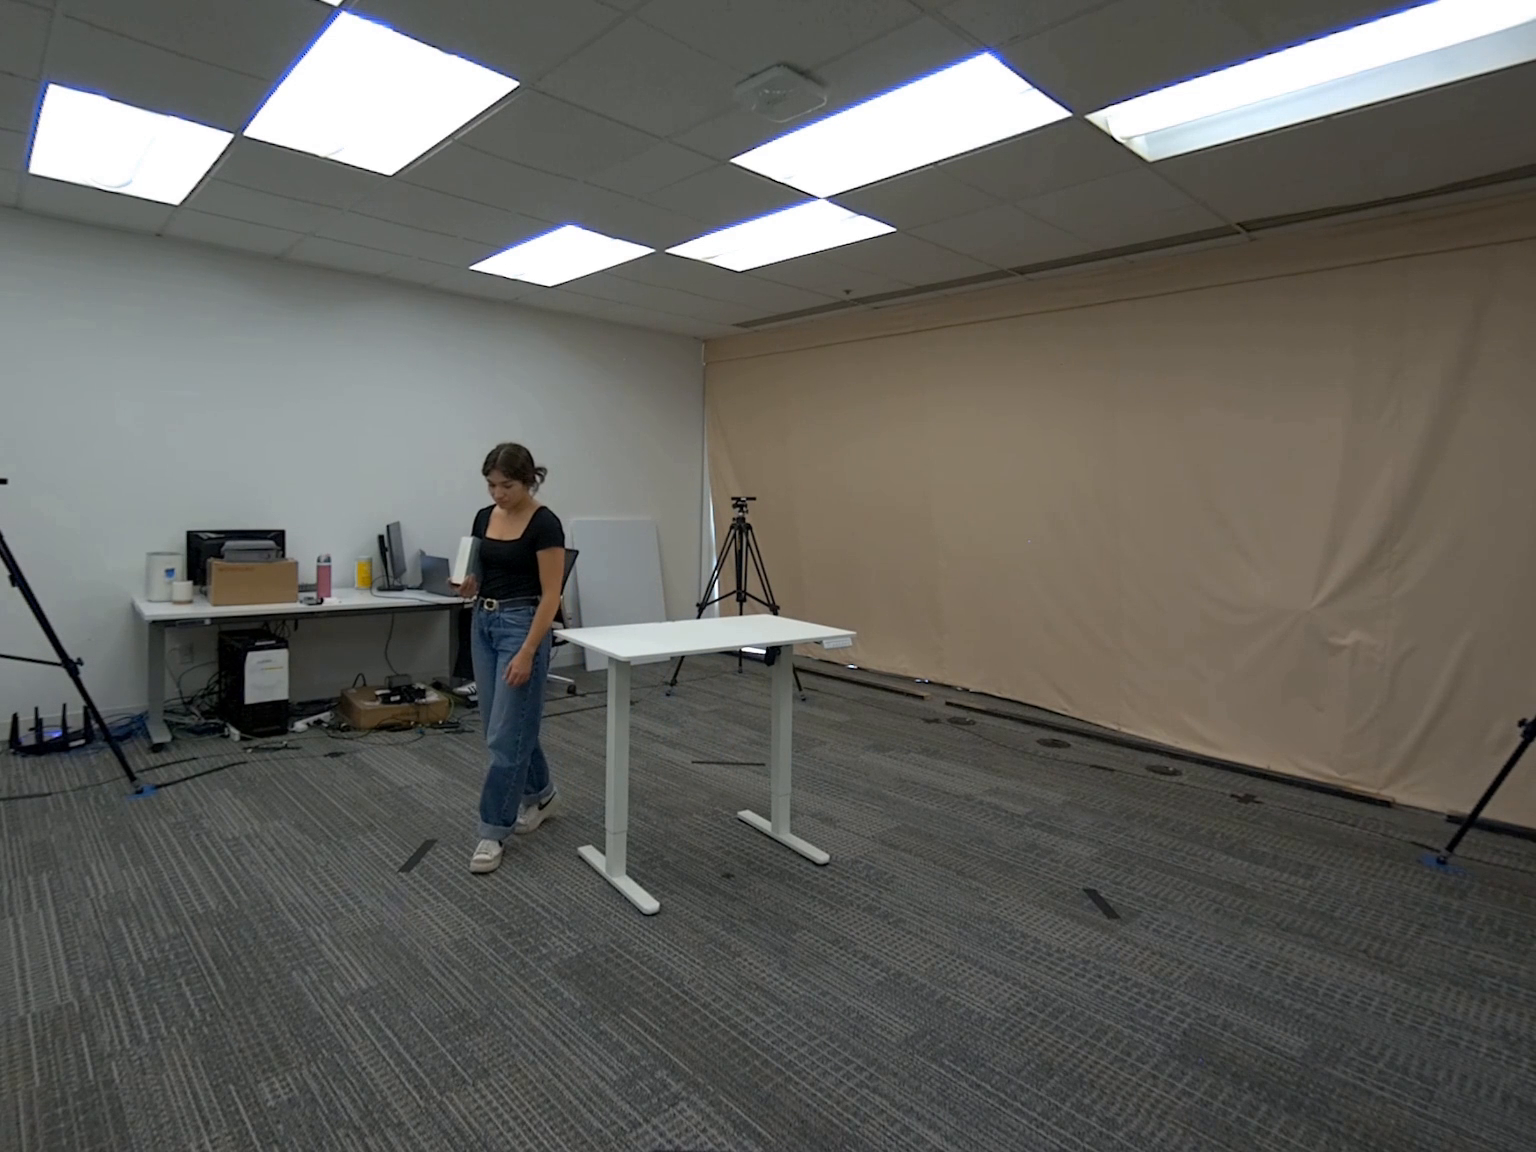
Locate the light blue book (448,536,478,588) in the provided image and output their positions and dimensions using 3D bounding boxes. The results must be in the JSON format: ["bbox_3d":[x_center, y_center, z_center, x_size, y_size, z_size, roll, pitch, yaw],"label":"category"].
[{"bbox_3d":[-1.148,-0.039,3.320,0.060,0.192,0.256,7,-9,14],"label":"light blue book"}]
